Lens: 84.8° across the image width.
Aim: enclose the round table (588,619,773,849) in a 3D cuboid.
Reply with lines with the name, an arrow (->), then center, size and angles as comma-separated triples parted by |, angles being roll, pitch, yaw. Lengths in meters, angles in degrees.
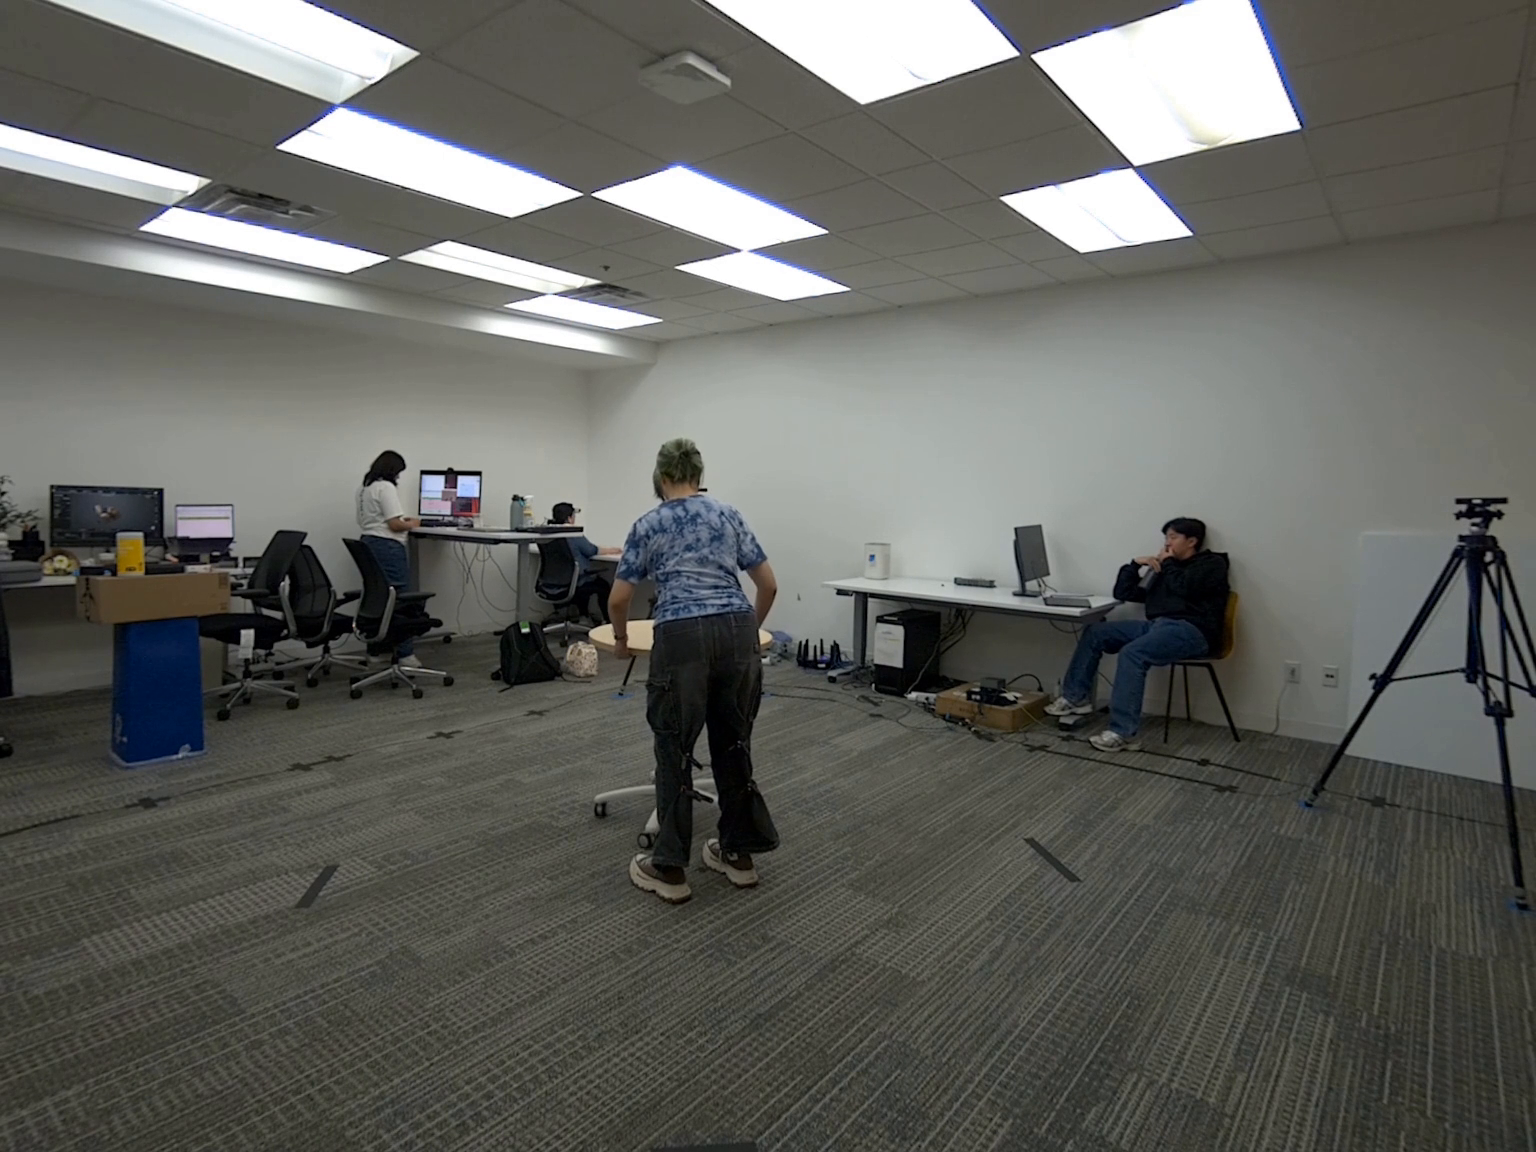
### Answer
round table -> -0.380, 0.631, 3.582 | 0.763, 0.791, 0.768 | 1, 4, -2
